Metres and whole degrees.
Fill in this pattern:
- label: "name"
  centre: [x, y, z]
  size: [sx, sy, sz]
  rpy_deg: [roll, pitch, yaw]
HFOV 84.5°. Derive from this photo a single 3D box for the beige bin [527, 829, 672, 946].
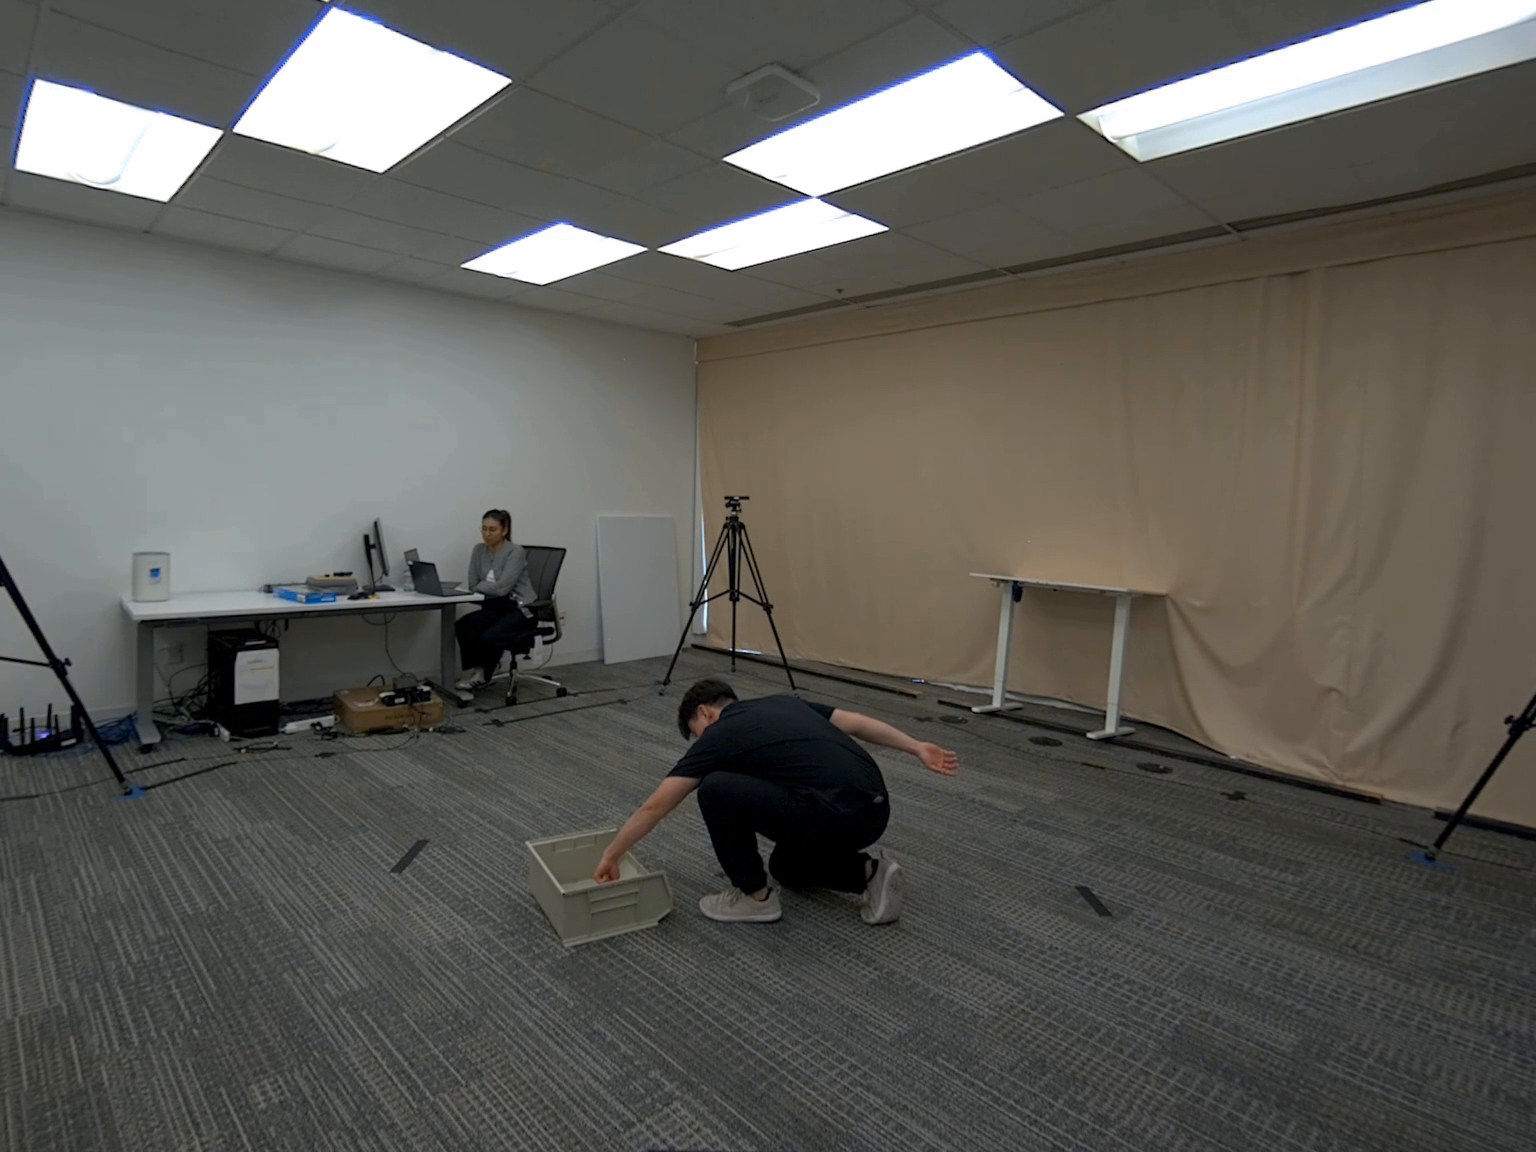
- label: "beige bin"
  centre: [-0.576, 1.024, 2.840]
  size: [0.370, 0.188, 0.432]
  rpy_deg: [-2, 7, -30]
